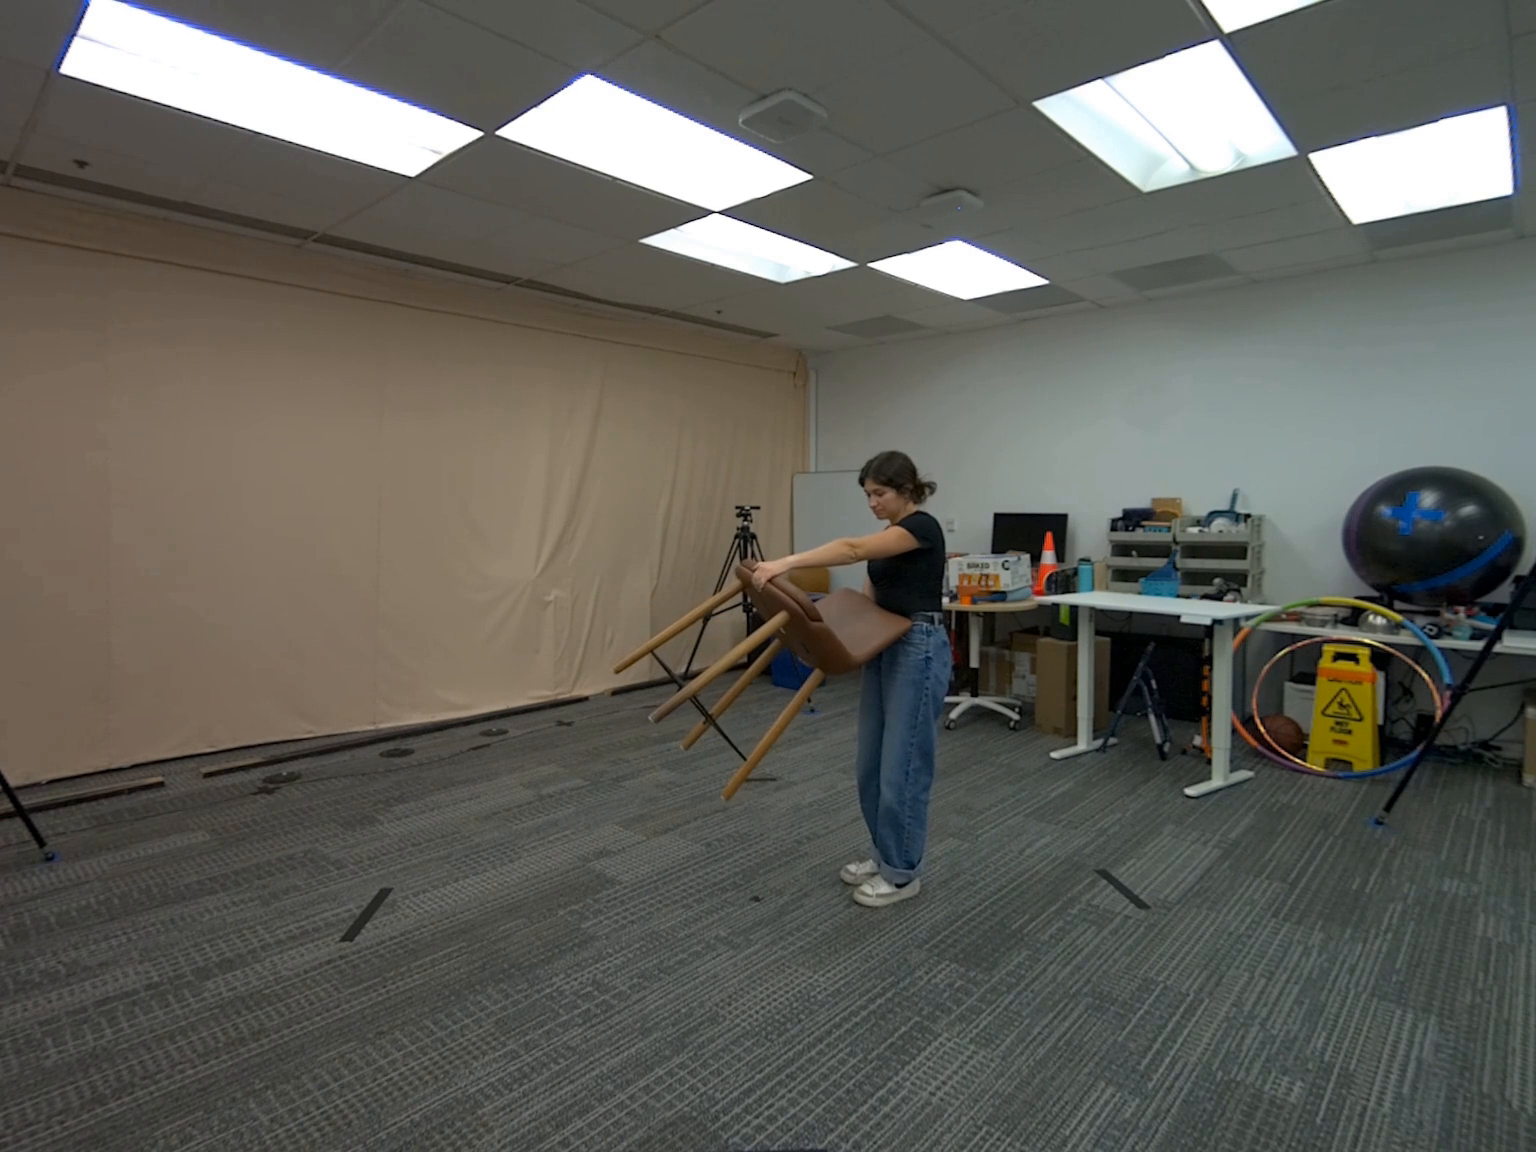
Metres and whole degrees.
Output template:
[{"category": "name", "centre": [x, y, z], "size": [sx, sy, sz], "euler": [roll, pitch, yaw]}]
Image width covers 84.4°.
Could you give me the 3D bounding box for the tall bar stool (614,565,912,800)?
[{"category": "tall bar stool", "centre": [-0.009, 0.252, 2.855], "size": [0.885, 0.455, 0.471], "euler": [-40, 29, -11]}]
